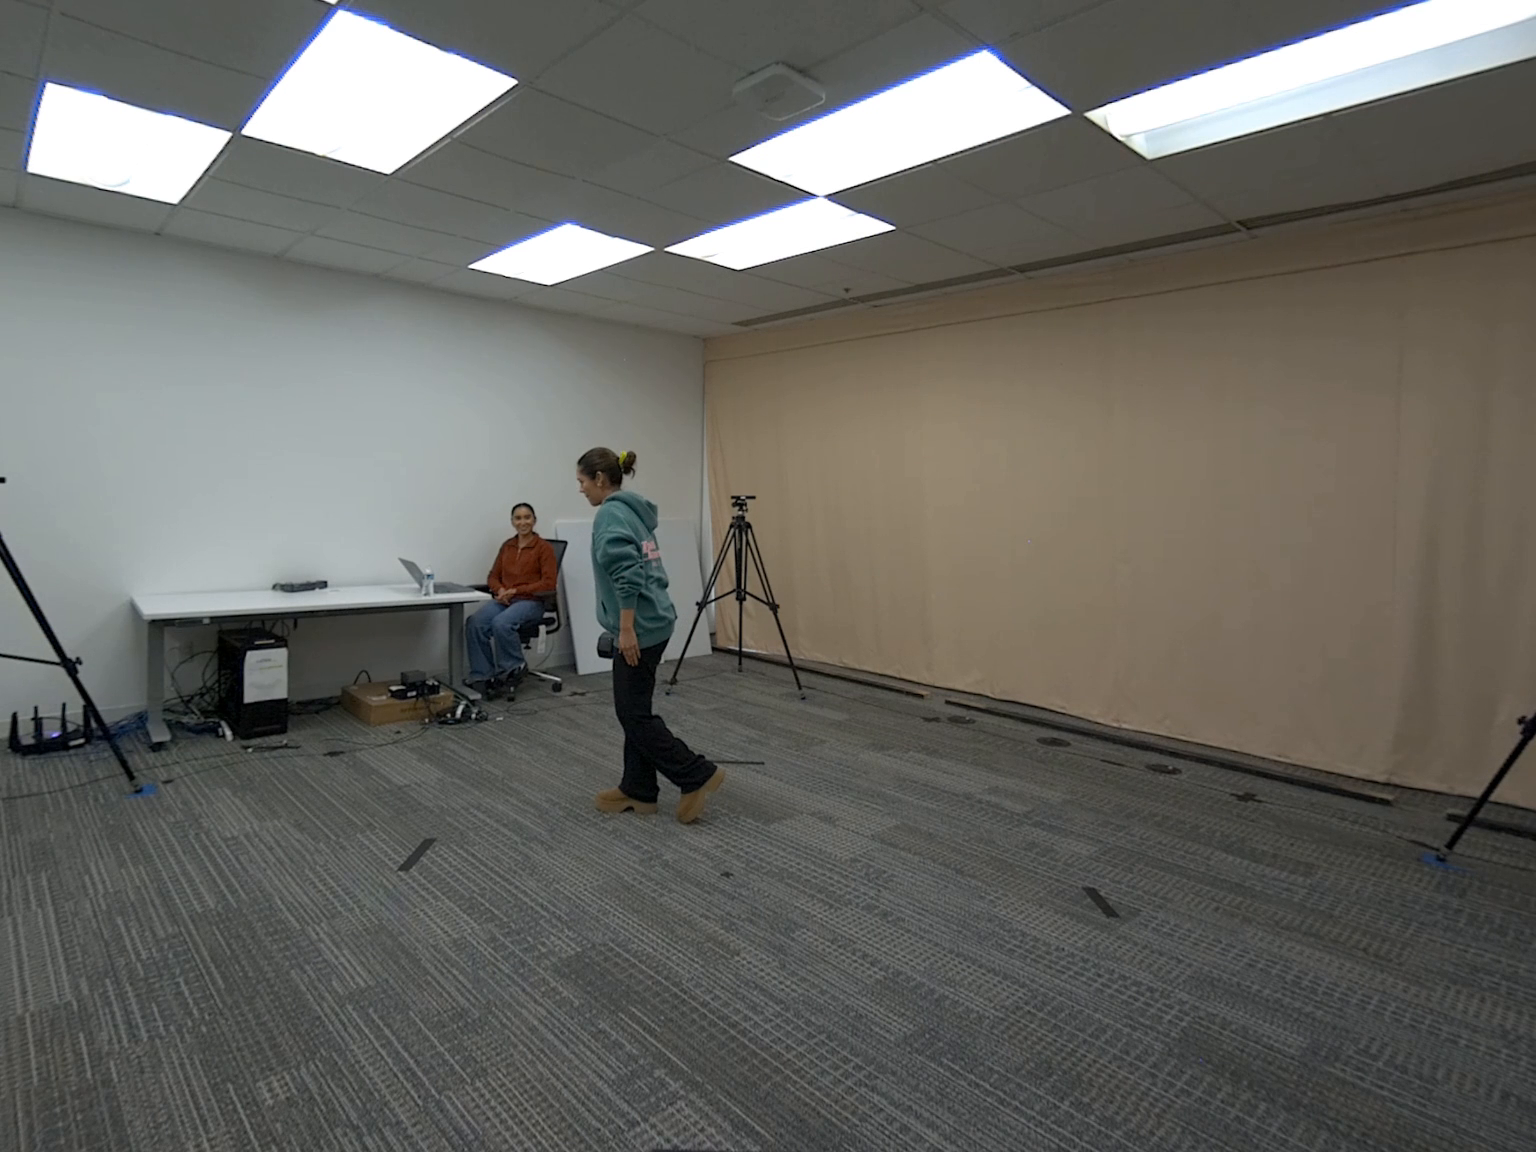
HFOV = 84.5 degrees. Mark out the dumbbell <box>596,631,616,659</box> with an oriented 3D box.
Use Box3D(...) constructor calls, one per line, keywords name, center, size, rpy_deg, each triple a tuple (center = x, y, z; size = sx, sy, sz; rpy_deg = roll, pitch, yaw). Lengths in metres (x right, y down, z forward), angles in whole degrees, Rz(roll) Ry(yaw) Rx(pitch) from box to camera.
Box3D(name="dumbbell", center=(-0.649, 0.338, 3.882), size=(0.295, 0.124, 0.107), rpy_deg=(9, -13, 6))
